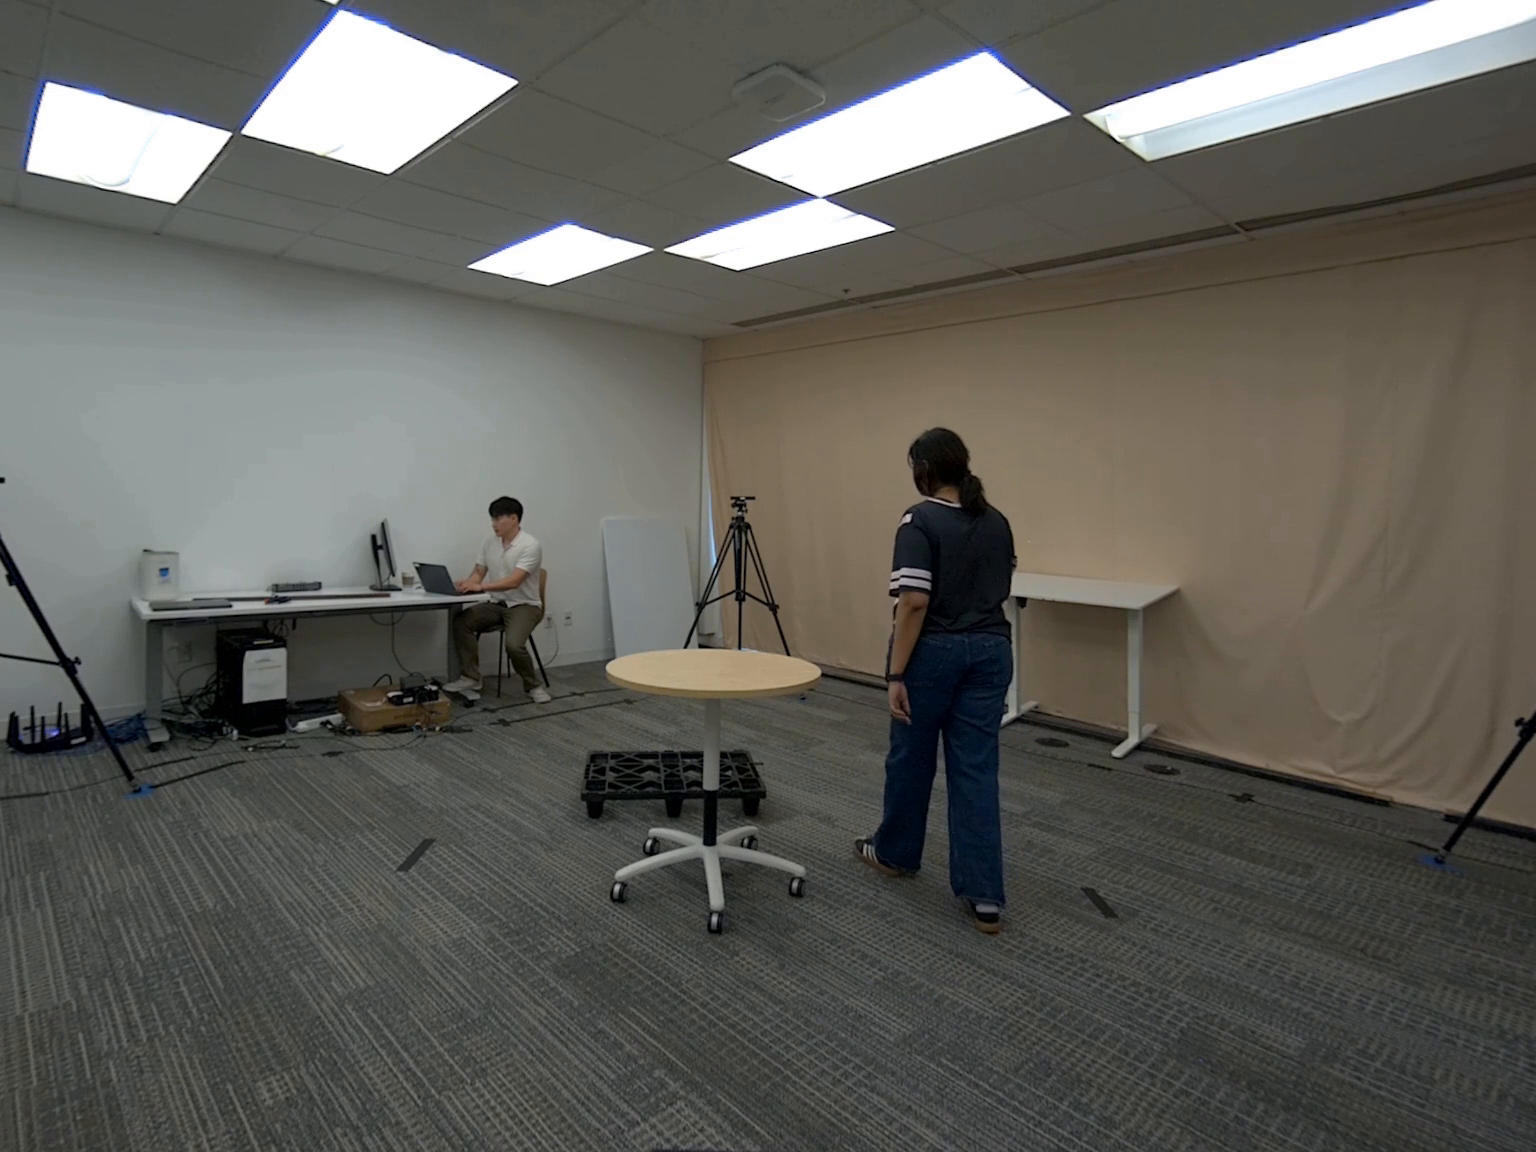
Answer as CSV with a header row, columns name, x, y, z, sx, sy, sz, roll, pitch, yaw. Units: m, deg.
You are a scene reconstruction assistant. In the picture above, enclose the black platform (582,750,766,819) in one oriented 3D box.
name,x,y,z,sx,sy,sz,roll,pitch,yaw
black platform,-0.451,0.961,3.890,0.801,0.143,0.611,1,5,-8
